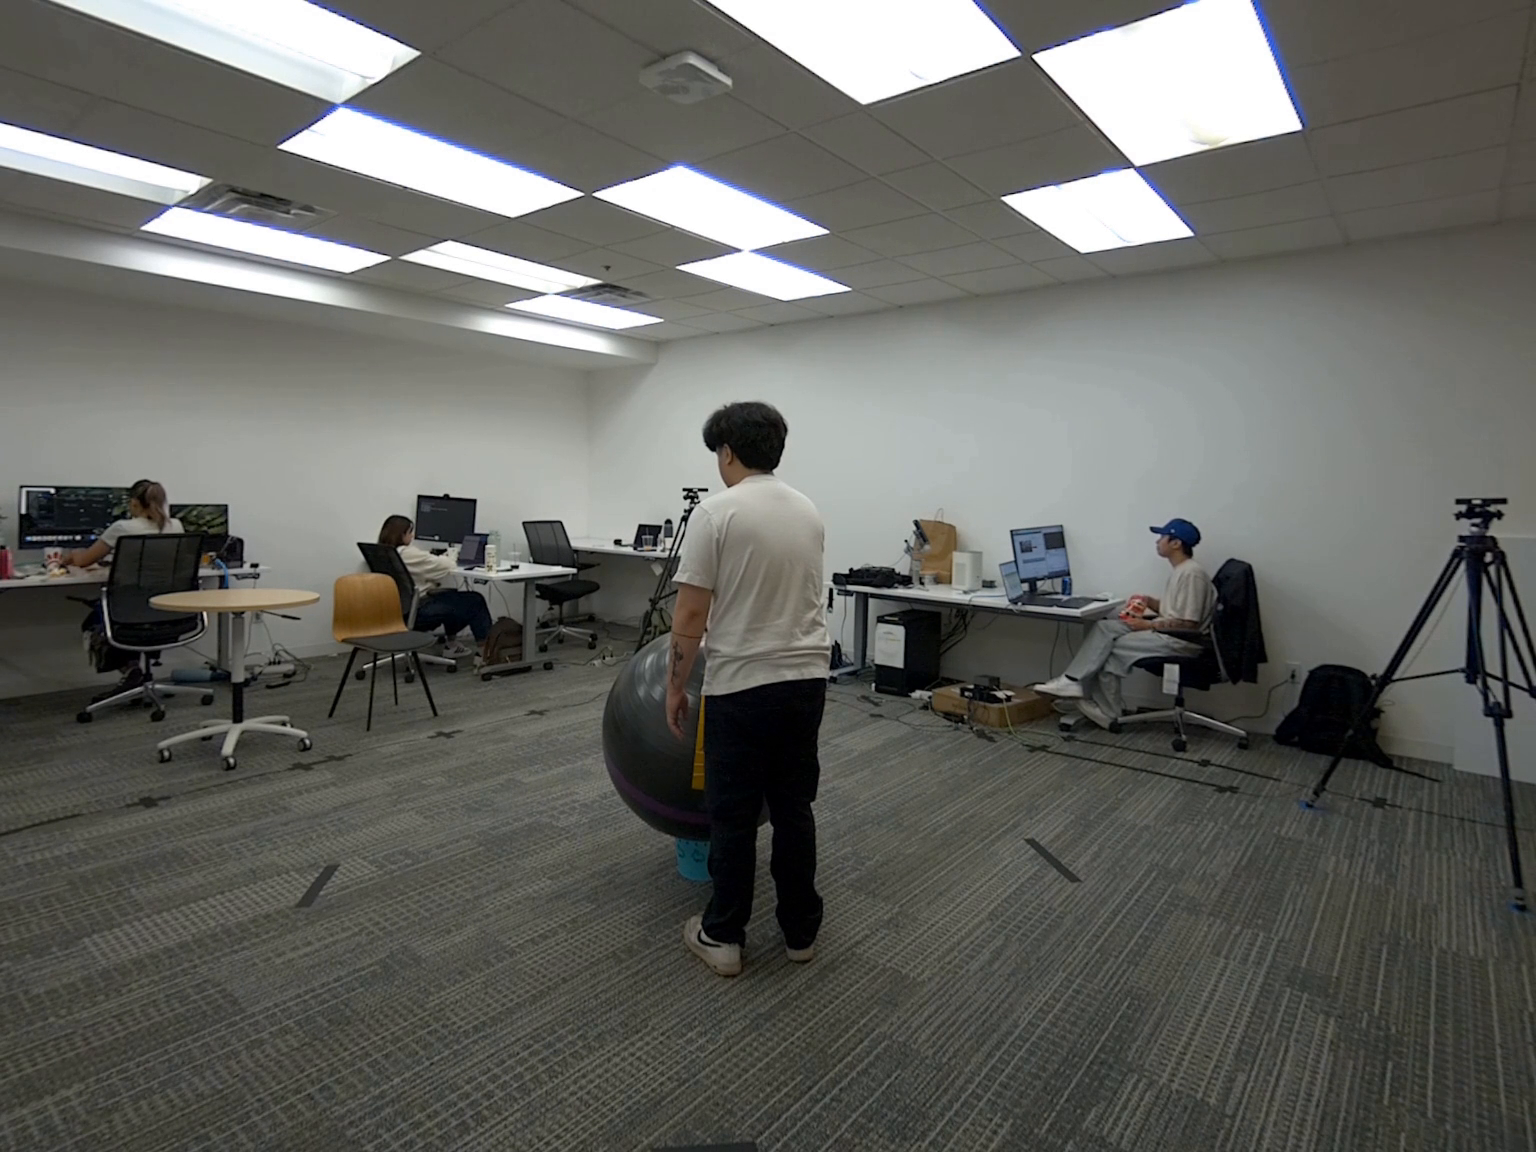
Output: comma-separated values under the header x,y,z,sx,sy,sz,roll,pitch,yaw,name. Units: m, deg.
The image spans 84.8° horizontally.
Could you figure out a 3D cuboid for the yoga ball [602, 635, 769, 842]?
x,y,z,sx,sy,sz,roll,pitch,yaw,name
-0.228,0.563,3.090,0.757,0.756,0.761,1,4,-2,yoga ball
